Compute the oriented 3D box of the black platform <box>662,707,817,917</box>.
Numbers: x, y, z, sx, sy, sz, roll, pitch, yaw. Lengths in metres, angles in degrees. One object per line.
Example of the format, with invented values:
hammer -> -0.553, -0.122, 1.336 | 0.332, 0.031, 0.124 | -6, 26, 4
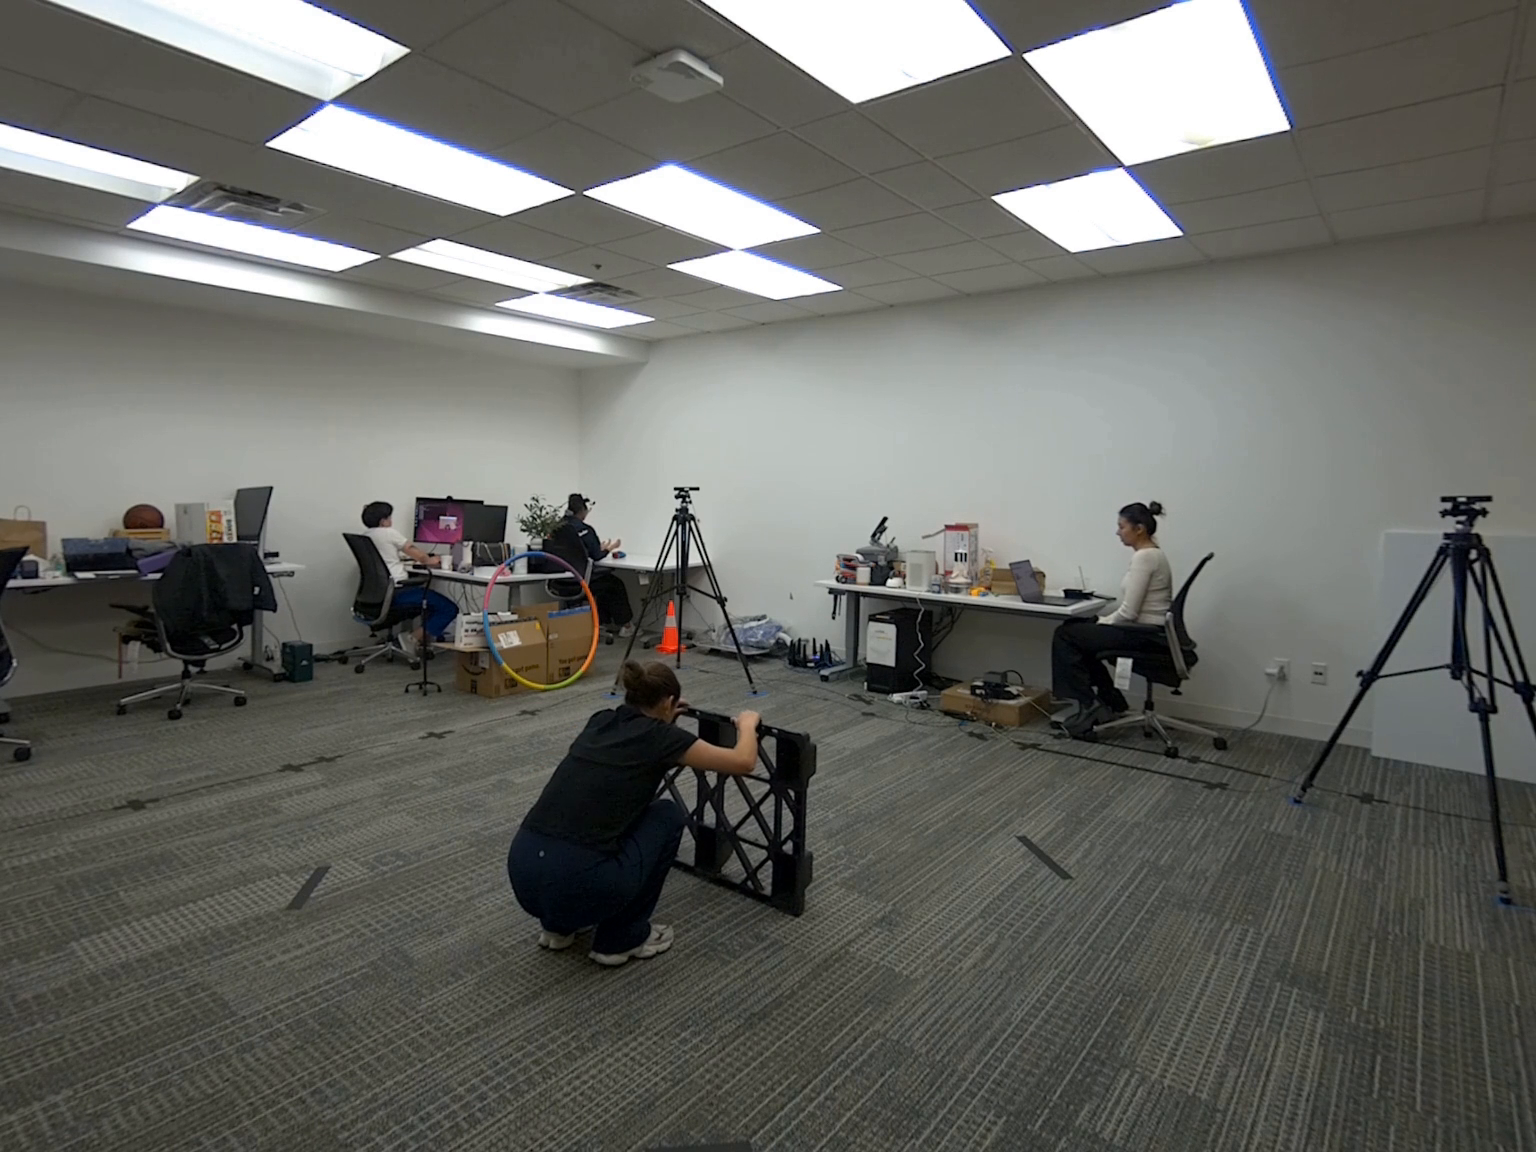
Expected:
black platform -> -0.169, 0.764, 3.059 | 0.832, 0.604, 0.139 | 5, 3, 38
